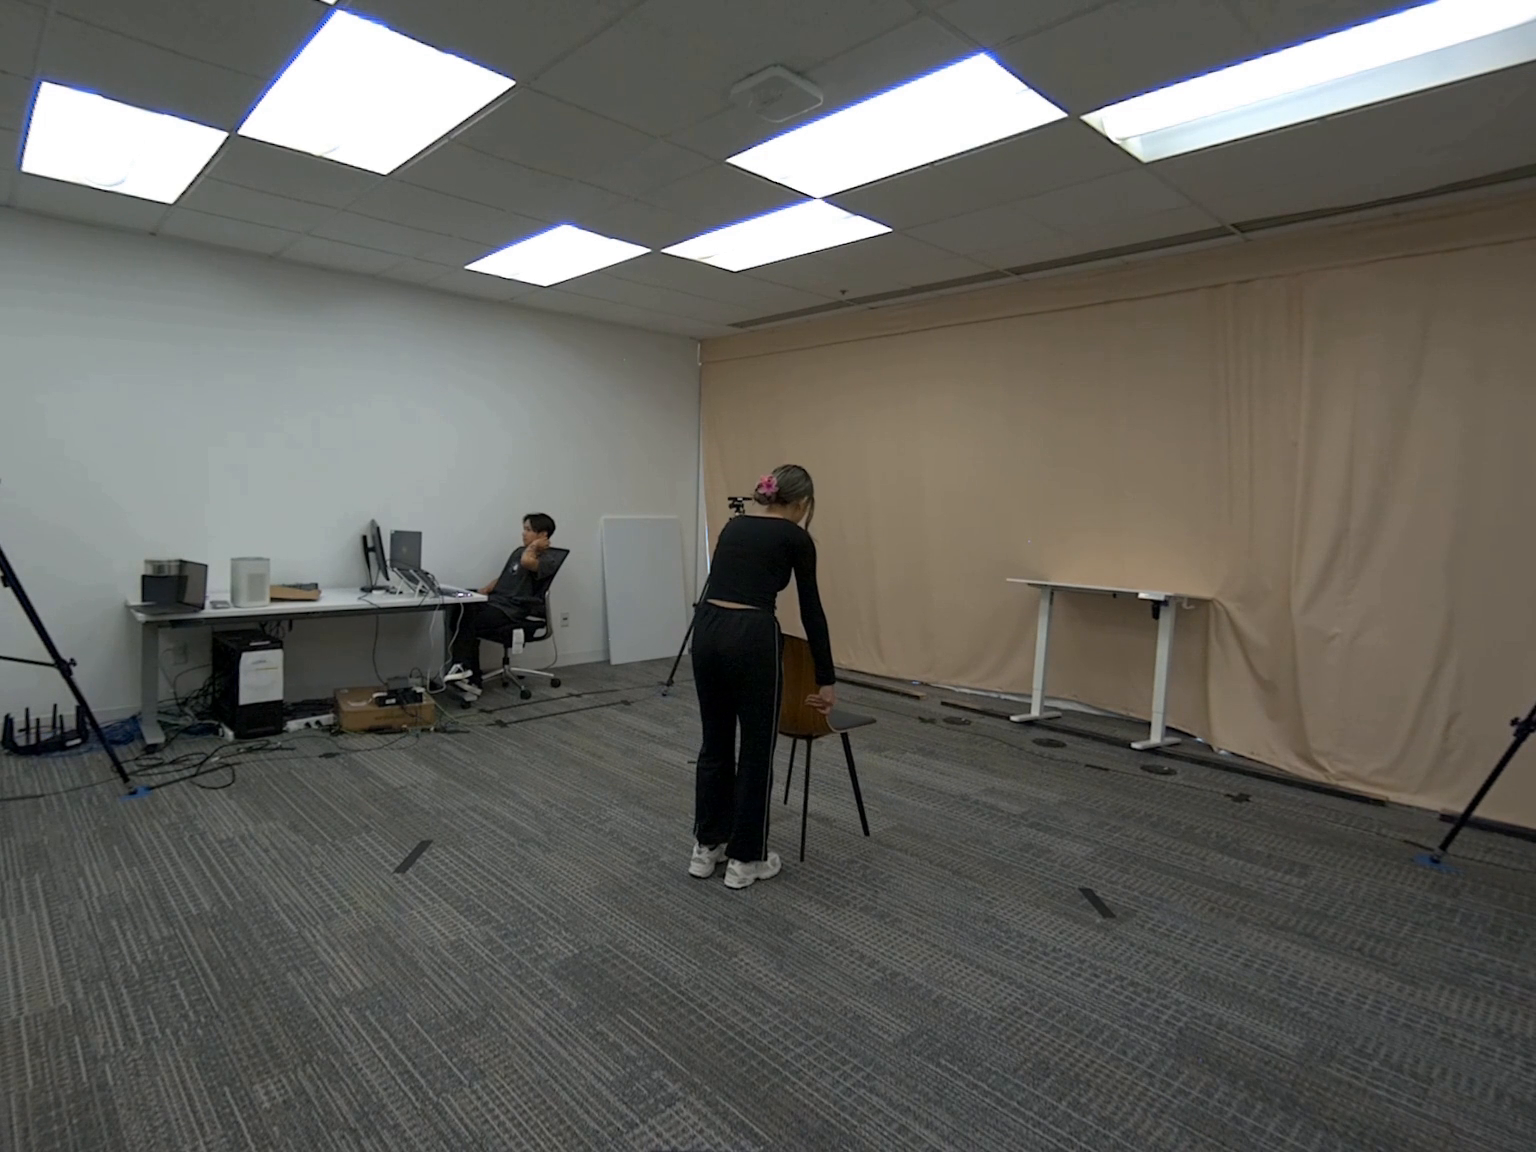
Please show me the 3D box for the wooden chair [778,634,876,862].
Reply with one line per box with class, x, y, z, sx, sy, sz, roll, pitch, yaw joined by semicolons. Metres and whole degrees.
wooden chair;0.136;0.614;3.430;0.490;0.874;0.512;6;7;41
